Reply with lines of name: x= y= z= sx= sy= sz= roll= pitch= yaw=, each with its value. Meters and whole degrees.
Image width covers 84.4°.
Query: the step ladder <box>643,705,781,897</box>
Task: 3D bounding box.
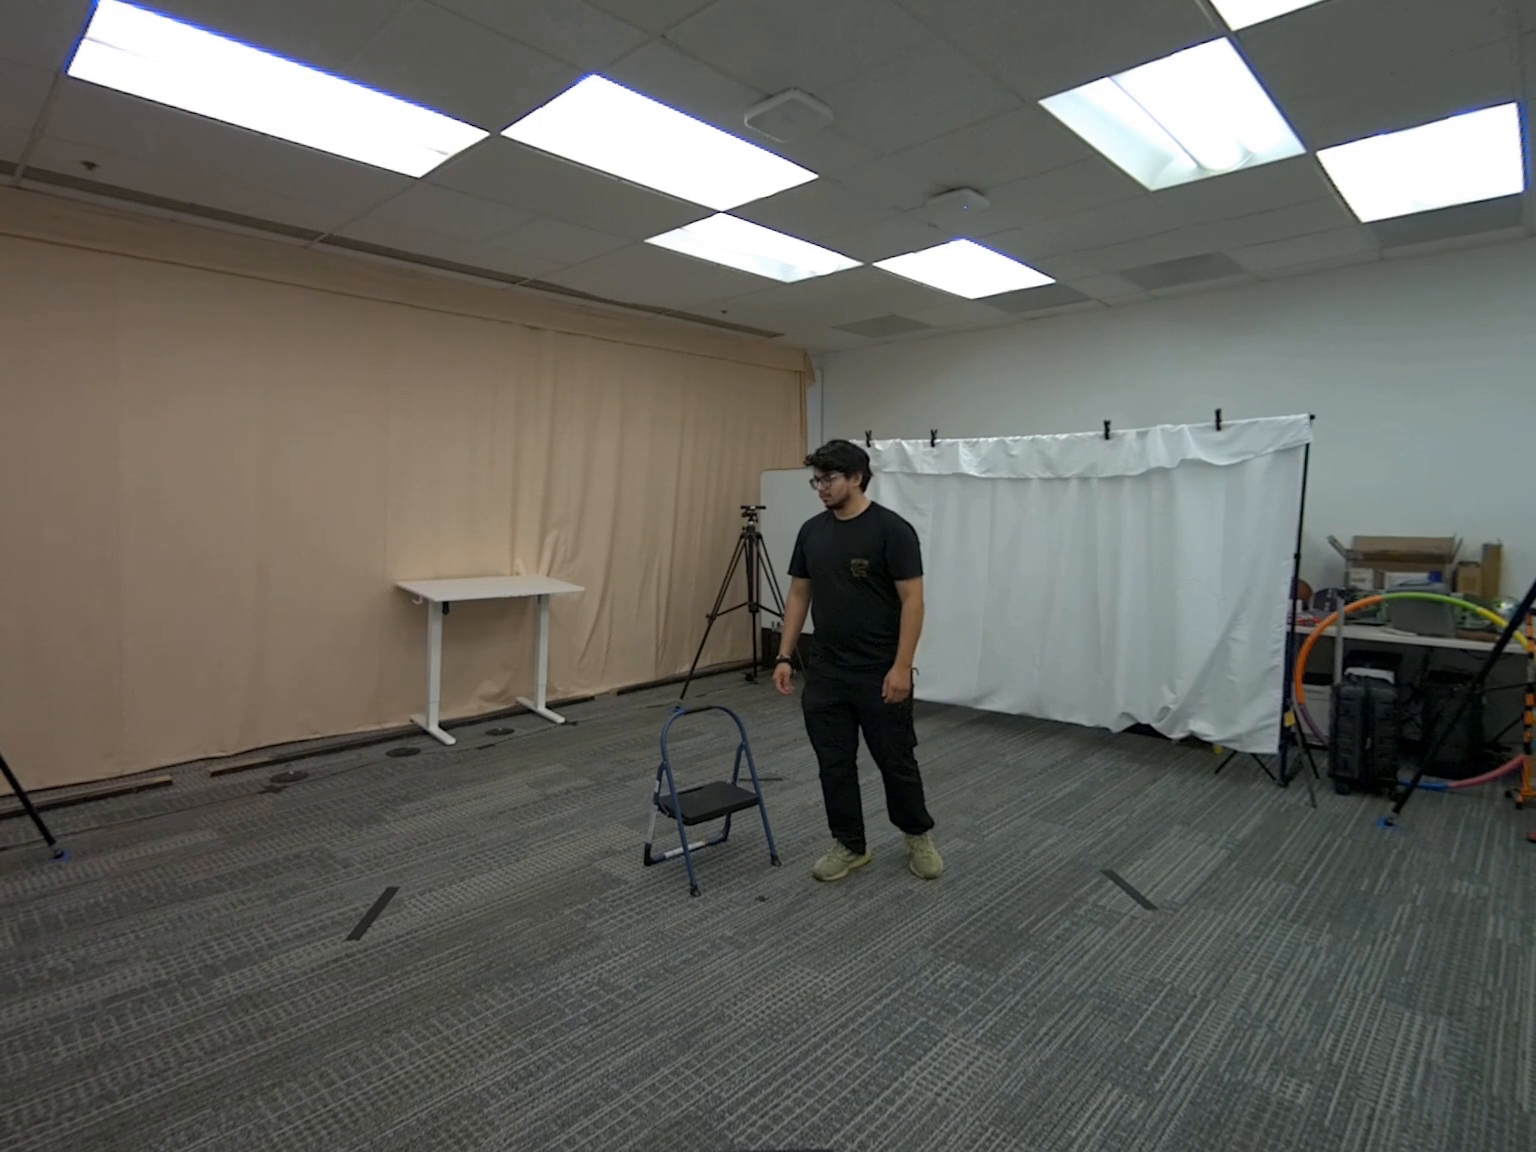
step ladder: x=-0.221 y=0.822 z=3.255 sx=0.418 sy=0.604 sz=0.361 roll=-4 pitch=5 yaw=-41
